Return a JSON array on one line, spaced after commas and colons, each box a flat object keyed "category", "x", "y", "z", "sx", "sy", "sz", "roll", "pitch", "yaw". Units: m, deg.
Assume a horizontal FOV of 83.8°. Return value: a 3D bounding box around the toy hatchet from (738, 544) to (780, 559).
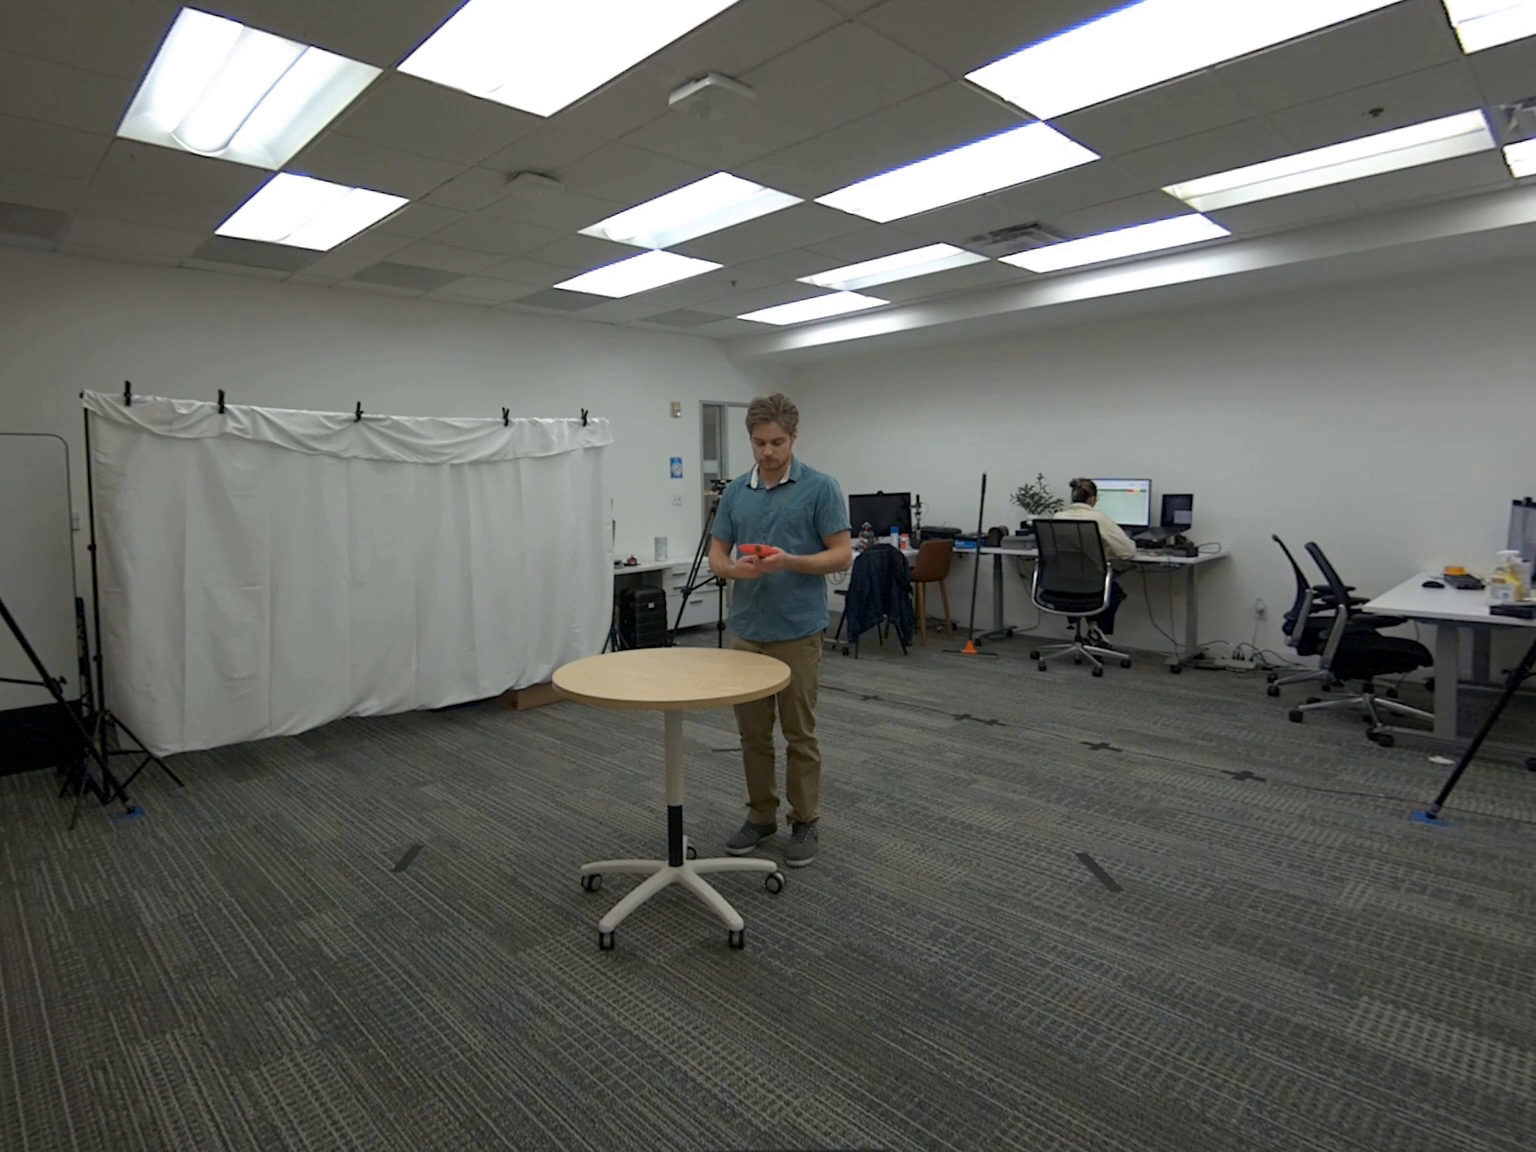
[{"category": "toy hatchet", "x": -0.052, "y": -0.083, "z": 2.910, "sx": 0.129, "sy": 0.030, "sz": 0.272, "roll": 3, "pitch": -3, "yaw": -12}]
